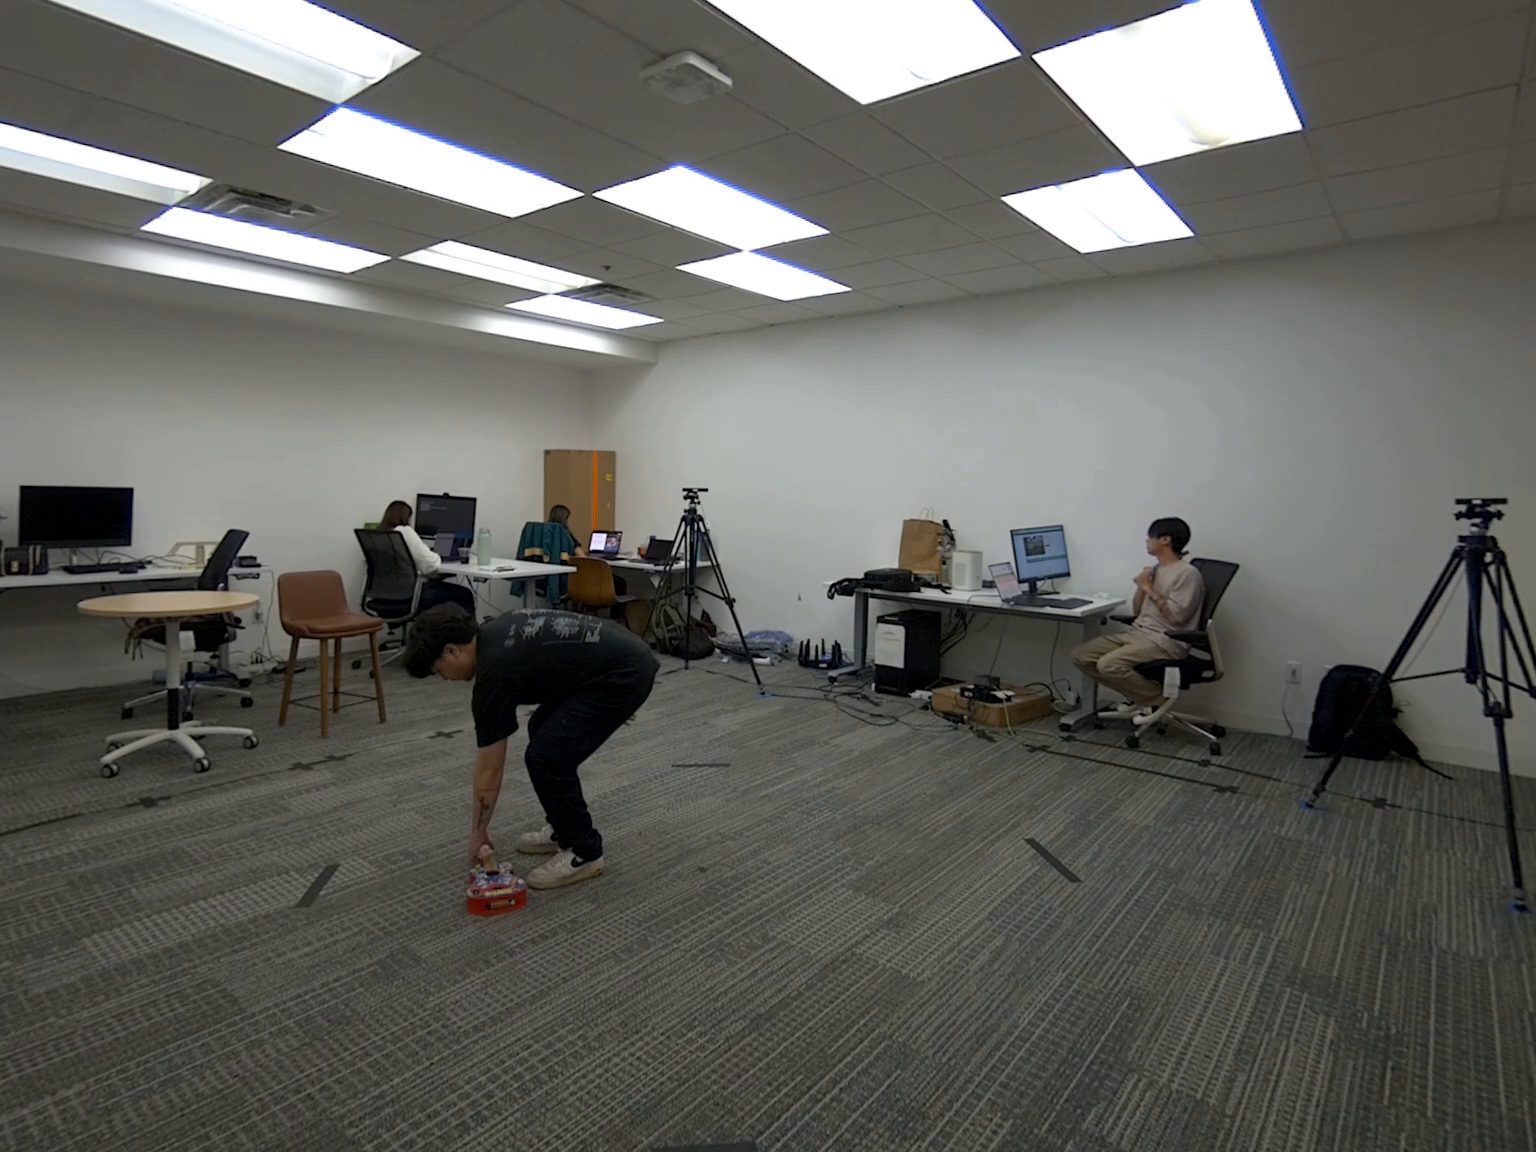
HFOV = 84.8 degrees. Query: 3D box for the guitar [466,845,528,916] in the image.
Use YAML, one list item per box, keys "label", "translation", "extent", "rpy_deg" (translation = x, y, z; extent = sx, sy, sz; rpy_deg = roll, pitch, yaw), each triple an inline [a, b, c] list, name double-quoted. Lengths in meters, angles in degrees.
- label: "guitar"
  translation: [-0.960, 1.034, 2.993]
  extent: [0.190, 0.070, 0.508]
  rpy_deg: [-2, 6, -16]
